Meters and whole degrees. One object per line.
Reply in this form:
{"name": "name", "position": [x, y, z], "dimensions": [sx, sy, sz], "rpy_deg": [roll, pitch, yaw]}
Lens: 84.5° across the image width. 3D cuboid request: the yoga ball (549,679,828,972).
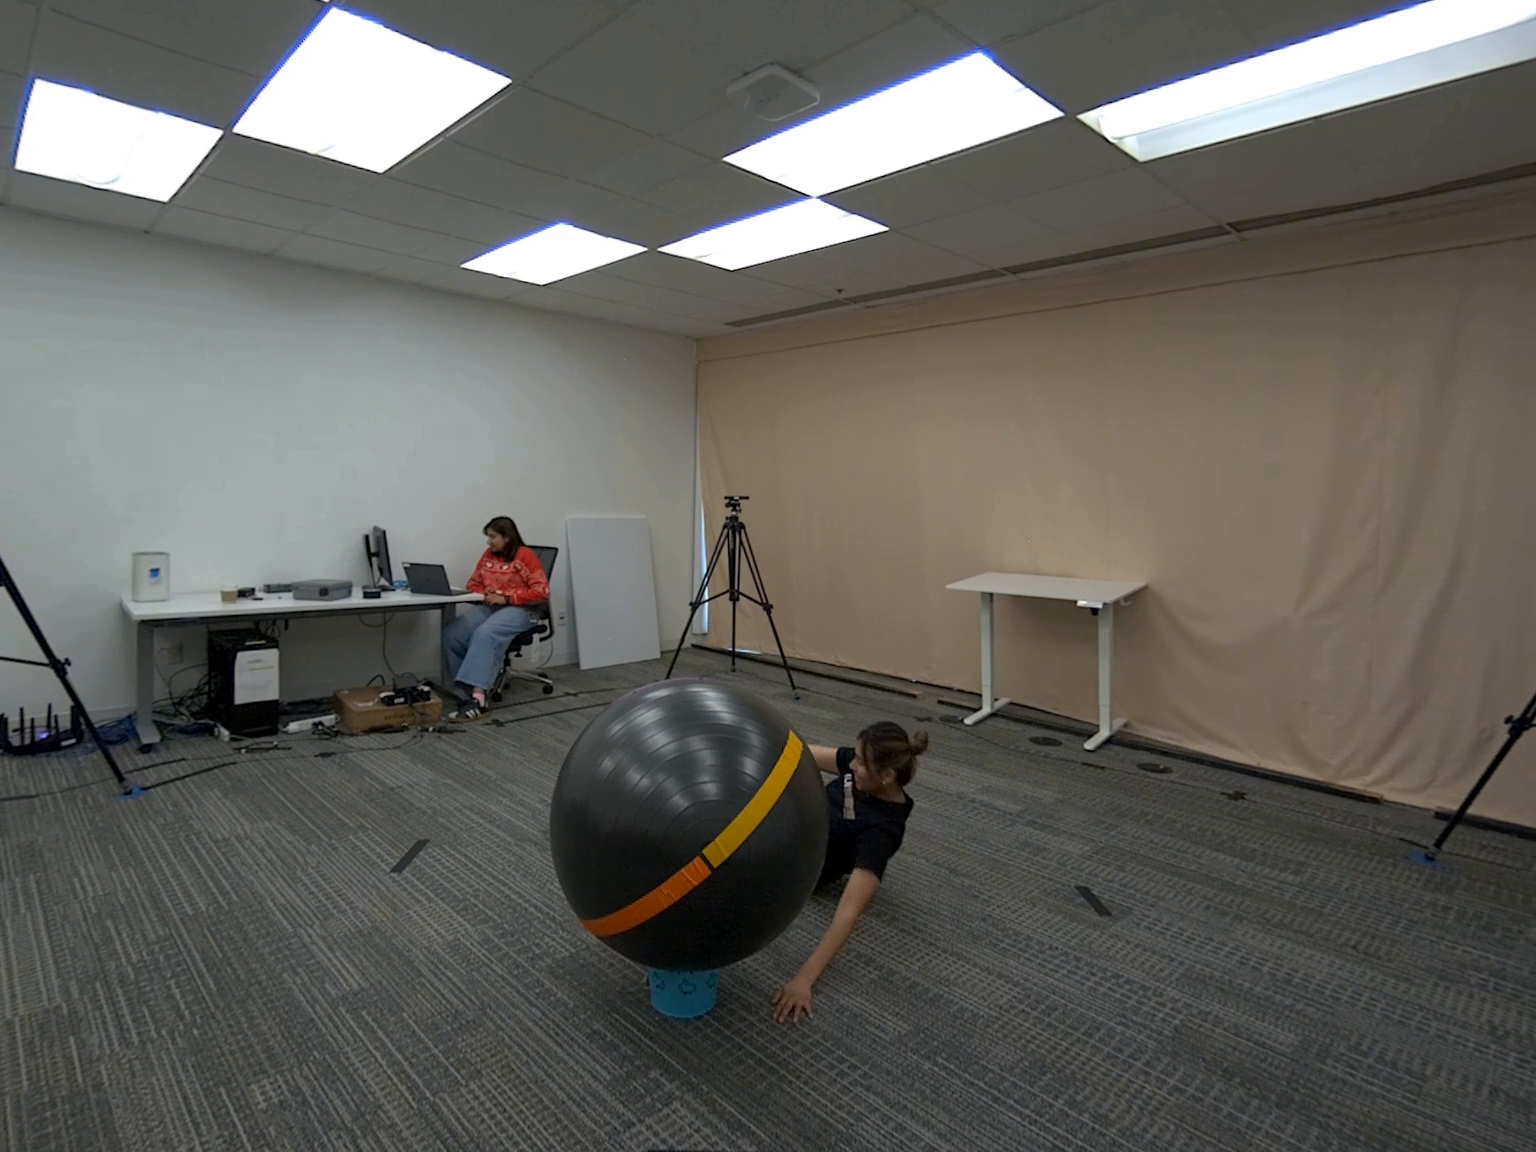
{"name": "yoga ball", "position": [-0.215, 0.669, 2.300], "dimensions": [0.757, 0.756, 0.761], "rpy_deg": [1, 4, -1]}
